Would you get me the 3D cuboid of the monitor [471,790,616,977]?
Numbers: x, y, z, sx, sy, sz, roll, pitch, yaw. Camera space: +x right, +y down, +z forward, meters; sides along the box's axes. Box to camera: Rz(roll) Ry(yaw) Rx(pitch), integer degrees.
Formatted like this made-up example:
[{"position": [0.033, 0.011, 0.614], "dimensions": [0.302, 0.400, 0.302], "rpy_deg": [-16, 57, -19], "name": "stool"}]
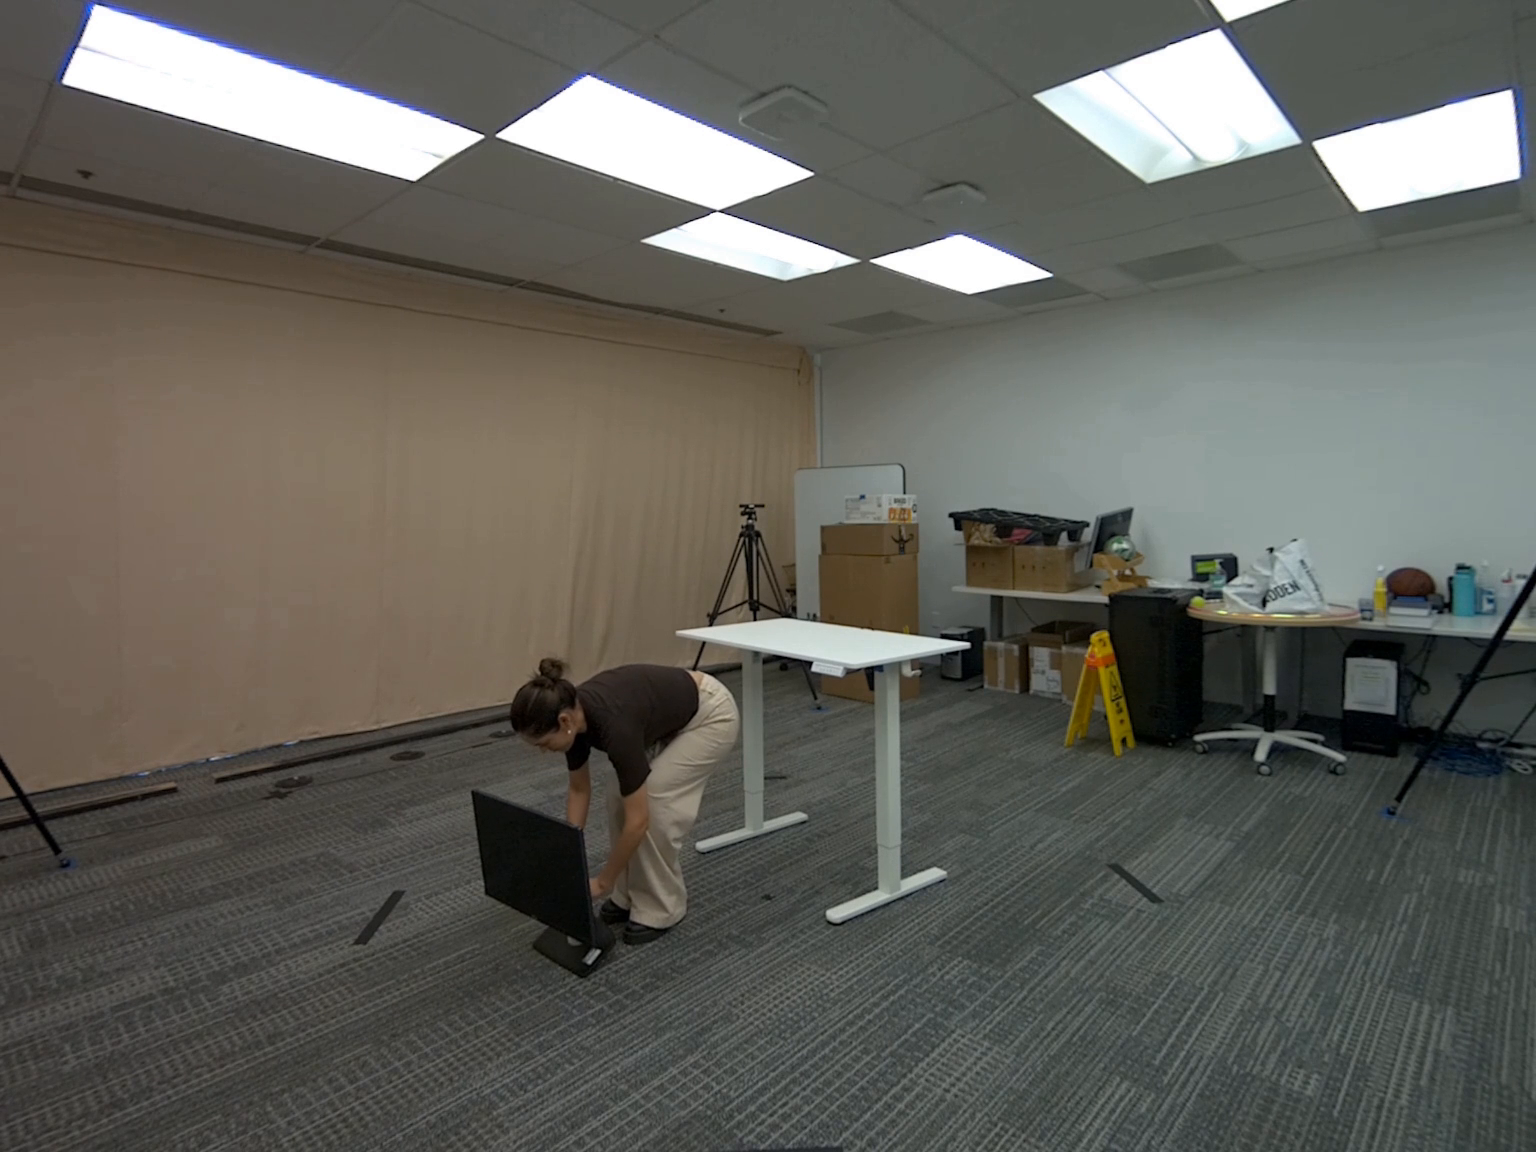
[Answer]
[{"position": [-0.664, 0.921, 2.559], "dimensions": [0.556, 0.514, 0.184], "rpy_deg": [2, 25, 39], "name": "monitor"}]
